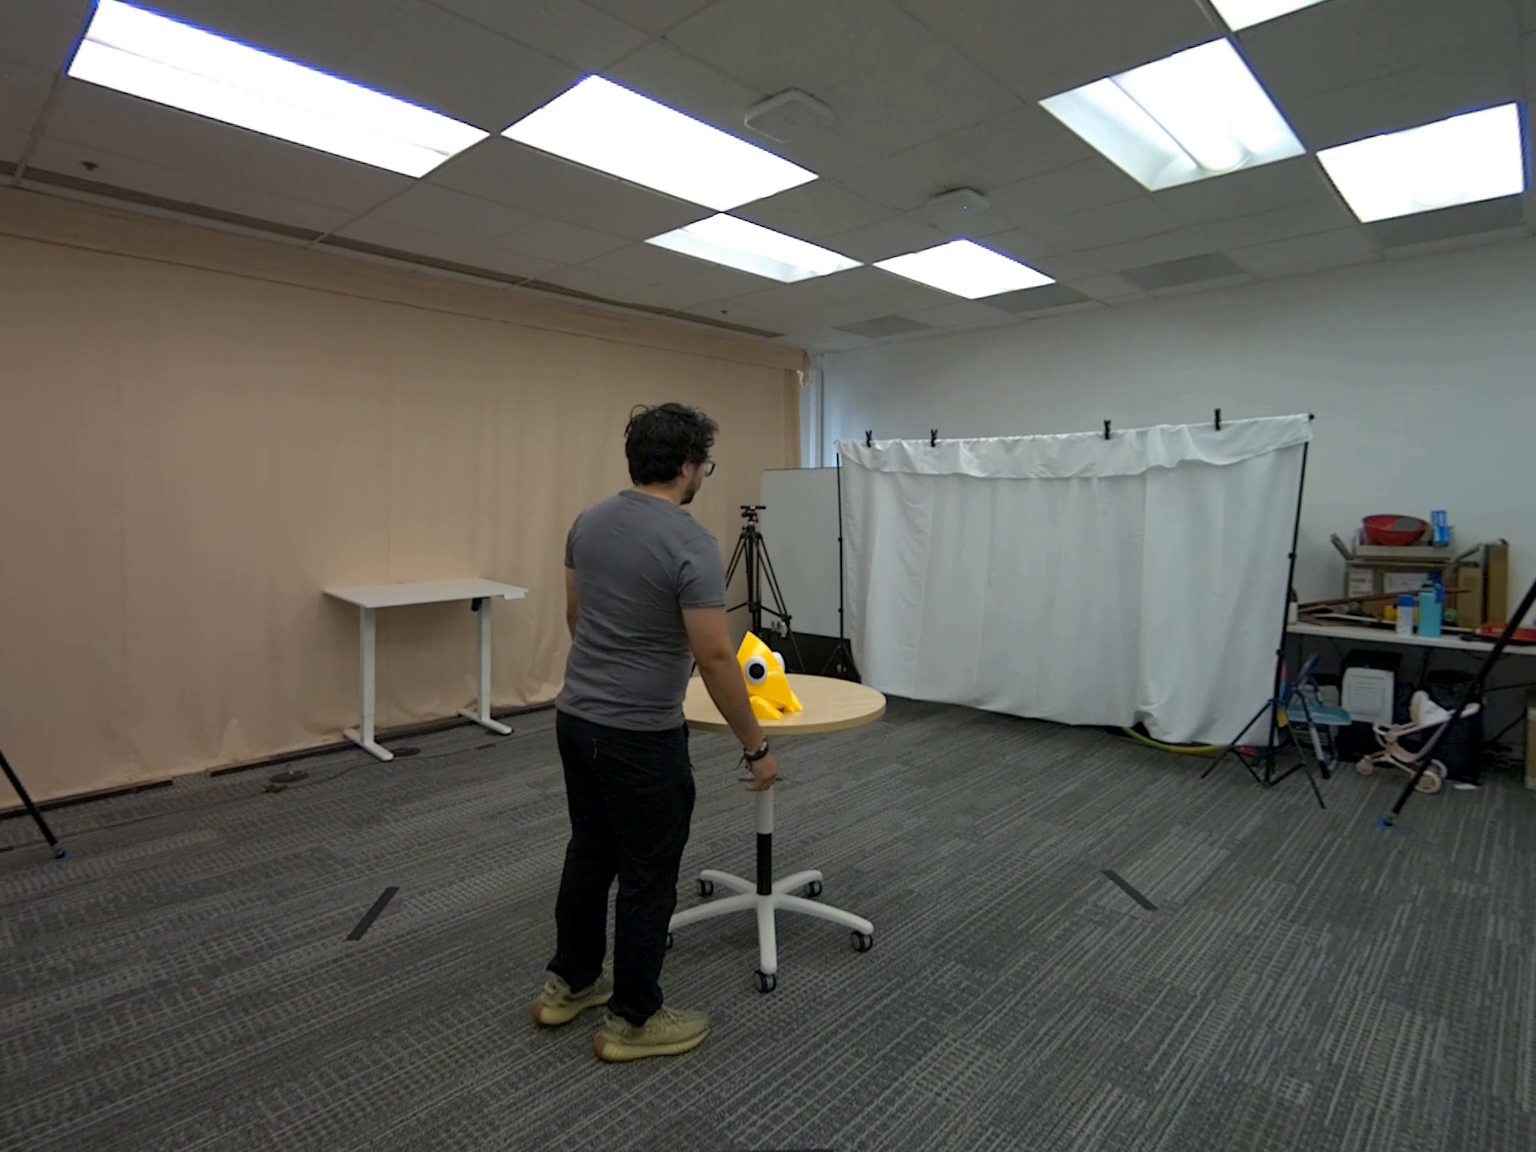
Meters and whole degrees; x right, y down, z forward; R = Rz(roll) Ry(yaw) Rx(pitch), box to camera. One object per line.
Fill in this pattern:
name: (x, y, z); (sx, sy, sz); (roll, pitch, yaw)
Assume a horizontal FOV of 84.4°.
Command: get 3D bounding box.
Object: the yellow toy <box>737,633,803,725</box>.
yellow toy: (0.003, 0.288, 2.493); (0.199, 0.230, 0.199); (3, 4, 34)
